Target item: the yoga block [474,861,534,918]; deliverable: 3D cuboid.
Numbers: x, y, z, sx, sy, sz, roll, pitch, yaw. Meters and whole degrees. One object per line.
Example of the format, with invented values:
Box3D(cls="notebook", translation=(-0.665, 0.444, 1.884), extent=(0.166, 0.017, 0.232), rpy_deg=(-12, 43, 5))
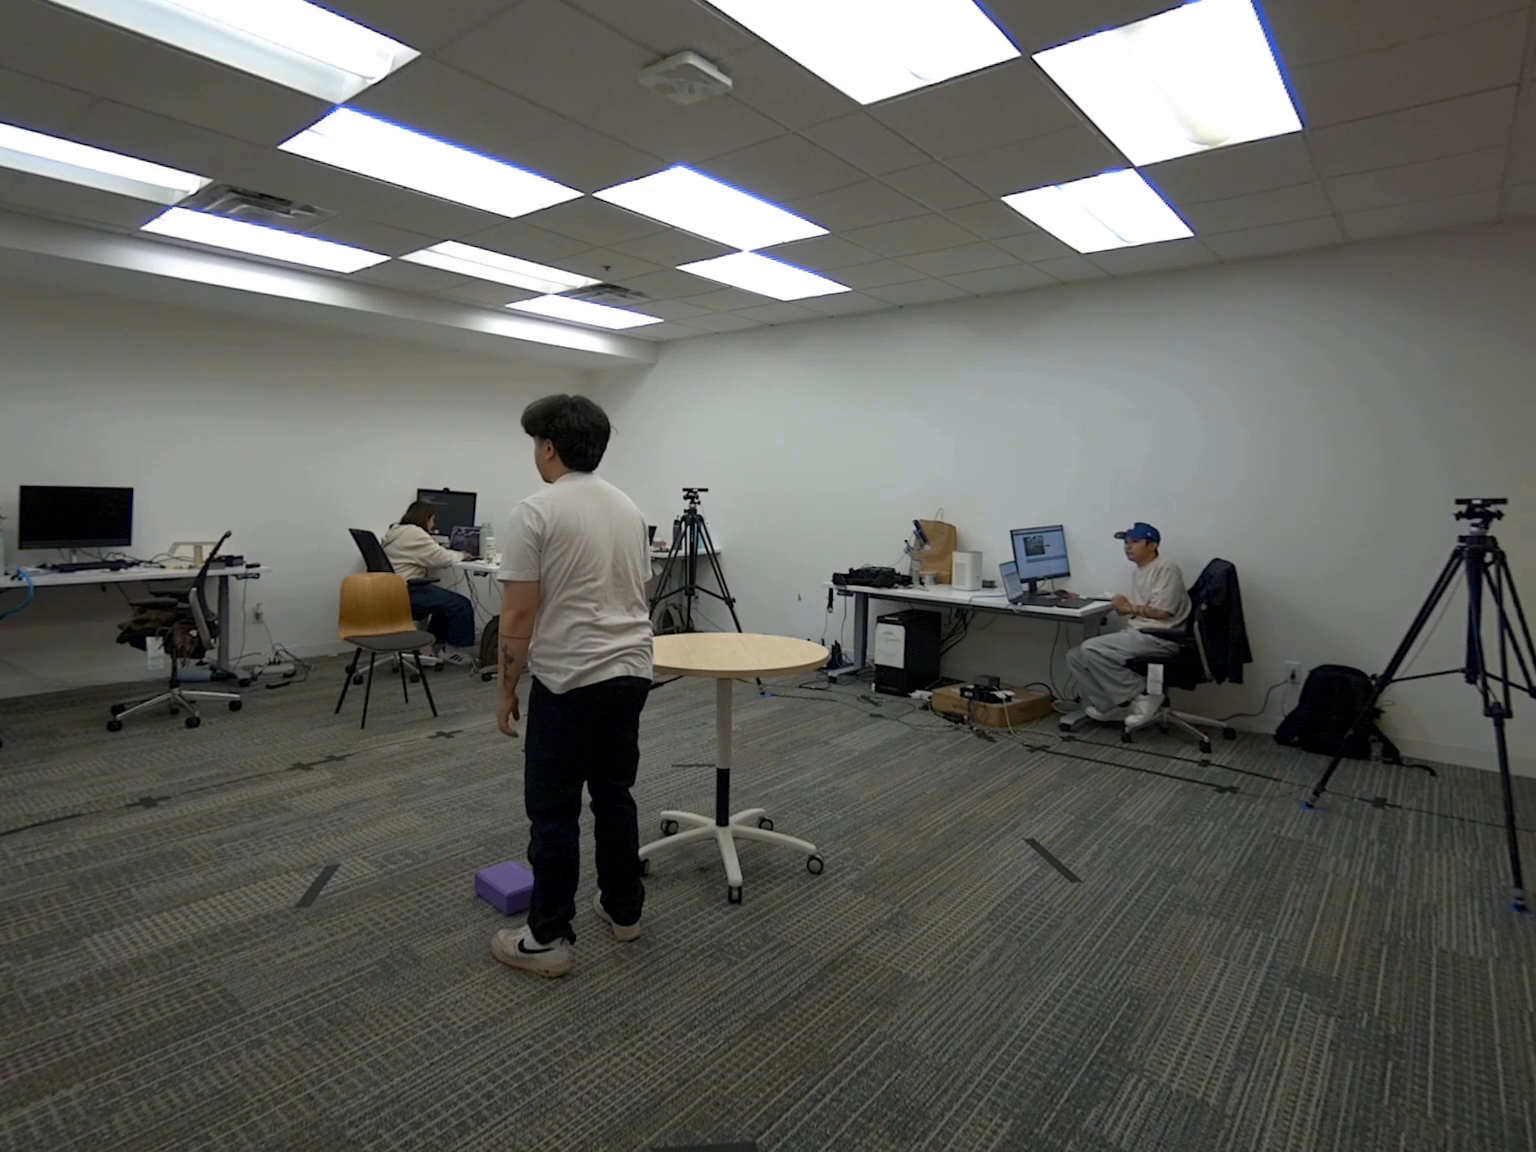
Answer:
Box3D(cls="yoga block", translation=(-0.879, 1.043, 2.860), extent=(0.237, 0.076, 0.144), rpy_deg=(5, 7, 44))
